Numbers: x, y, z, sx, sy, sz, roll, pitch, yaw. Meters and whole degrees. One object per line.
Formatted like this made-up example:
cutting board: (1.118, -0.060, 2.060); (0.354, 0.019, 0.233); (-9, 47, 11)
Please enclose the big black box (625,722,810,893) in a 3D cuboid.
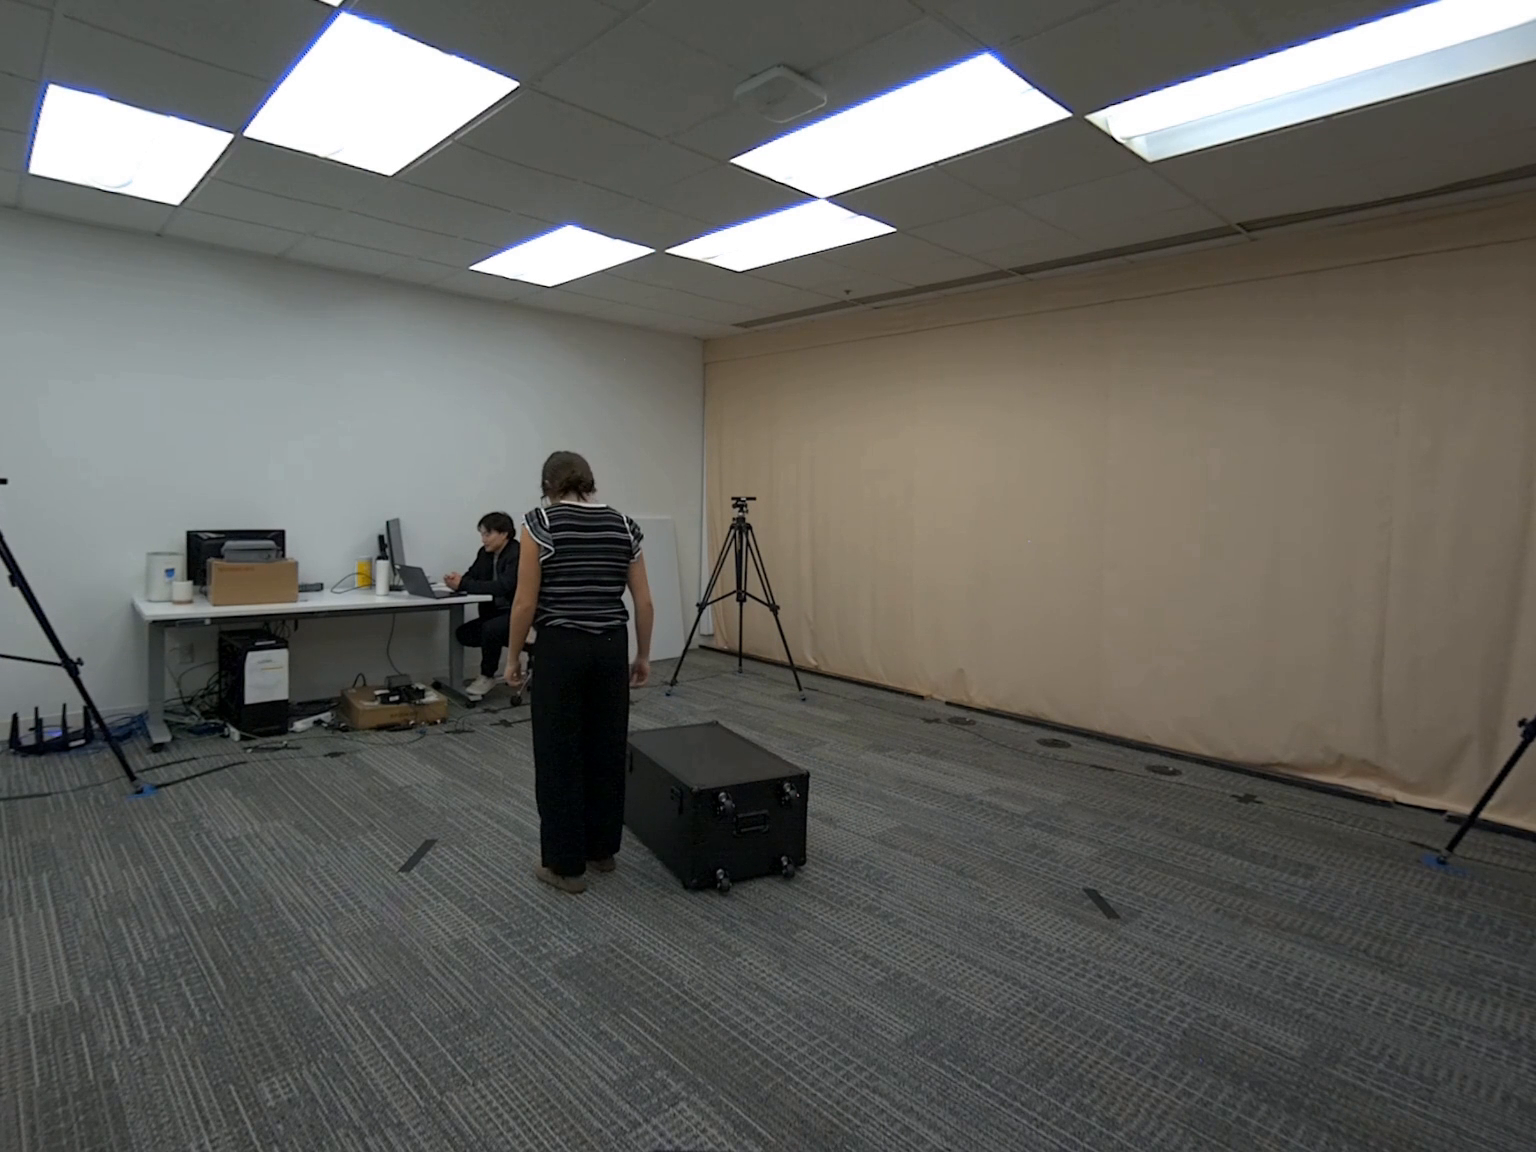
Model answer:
big black box: (-0.245, 0.891, 3.358); (0.511, 0.395, 0.881); (-1, 5, -29)
